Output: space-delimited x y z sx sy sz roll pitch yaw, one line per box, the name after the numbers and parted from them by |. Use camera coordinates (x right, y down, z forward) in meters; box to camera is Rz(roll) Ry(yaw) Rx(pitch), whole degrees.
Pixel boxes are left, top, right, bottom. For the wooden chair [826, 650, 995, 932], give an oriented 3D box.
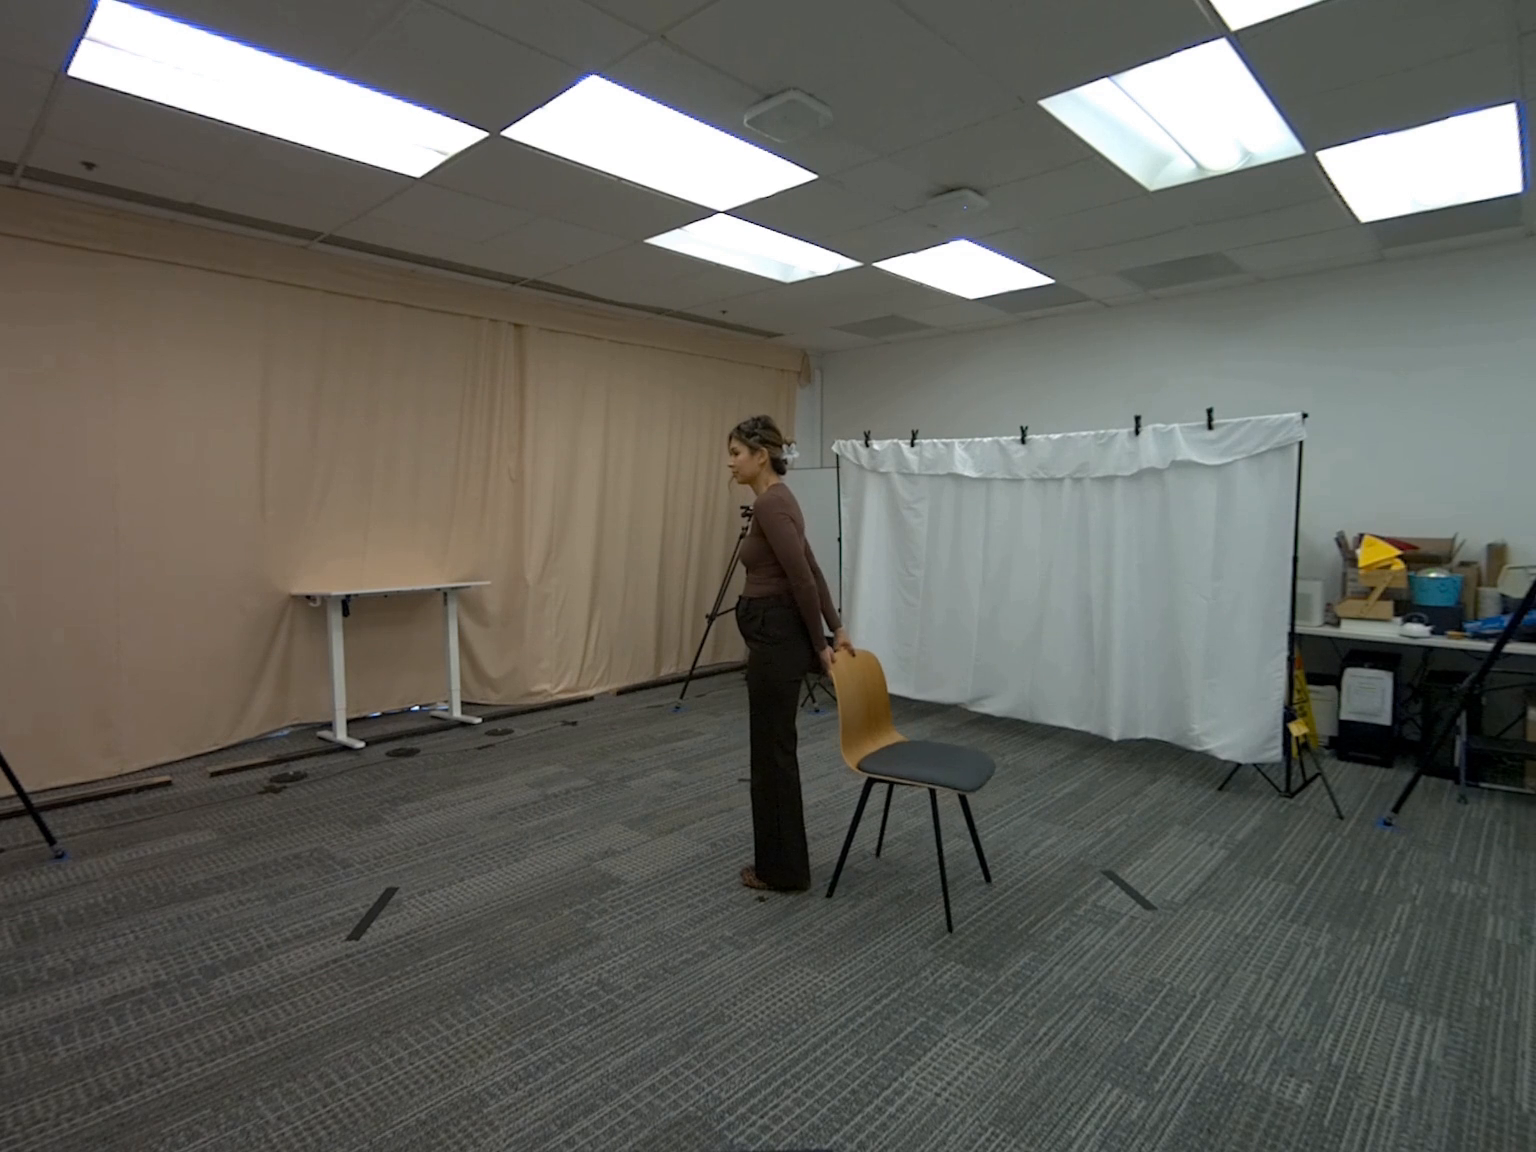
0.521 0.711 3.017 0.538 0.877 0.465 -3 0 32 | wooden chair
